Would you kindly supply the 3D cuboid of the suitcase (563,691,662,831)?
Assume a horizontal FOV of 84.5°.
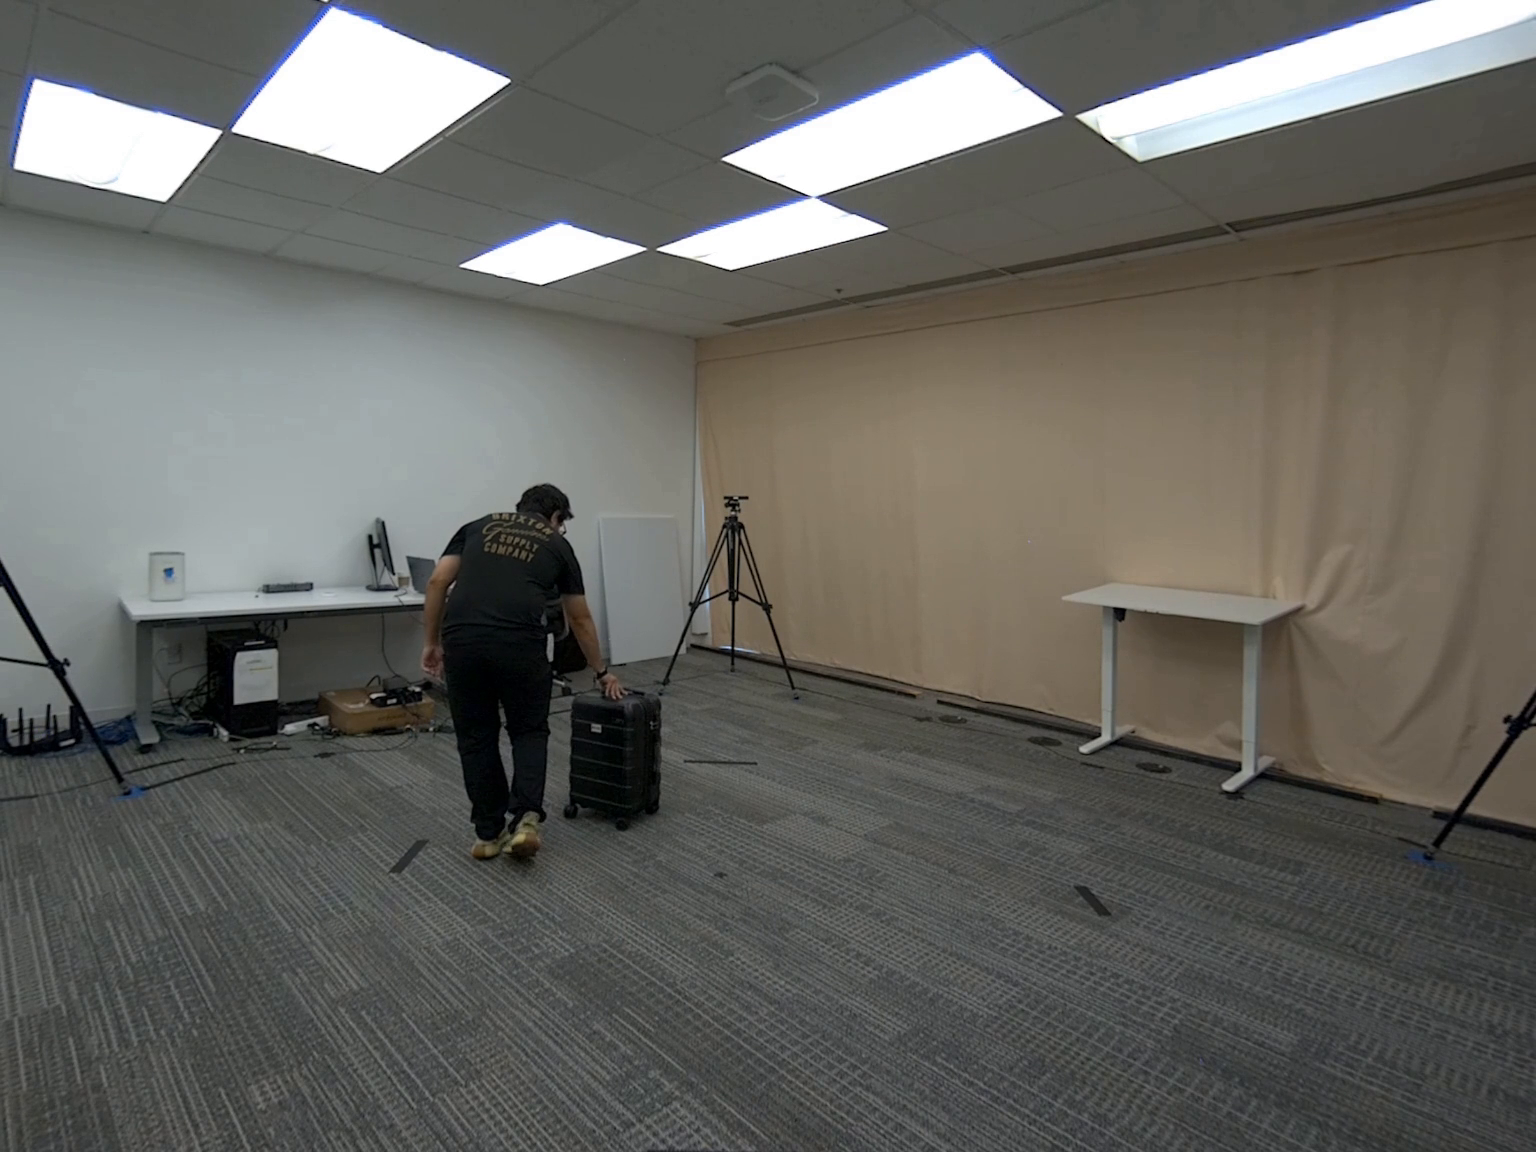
[{"bbox_3d":[-0.669,0.769,3.652,0.383,0.548,0.244,5,5,29],"label":"suitcase"}]
